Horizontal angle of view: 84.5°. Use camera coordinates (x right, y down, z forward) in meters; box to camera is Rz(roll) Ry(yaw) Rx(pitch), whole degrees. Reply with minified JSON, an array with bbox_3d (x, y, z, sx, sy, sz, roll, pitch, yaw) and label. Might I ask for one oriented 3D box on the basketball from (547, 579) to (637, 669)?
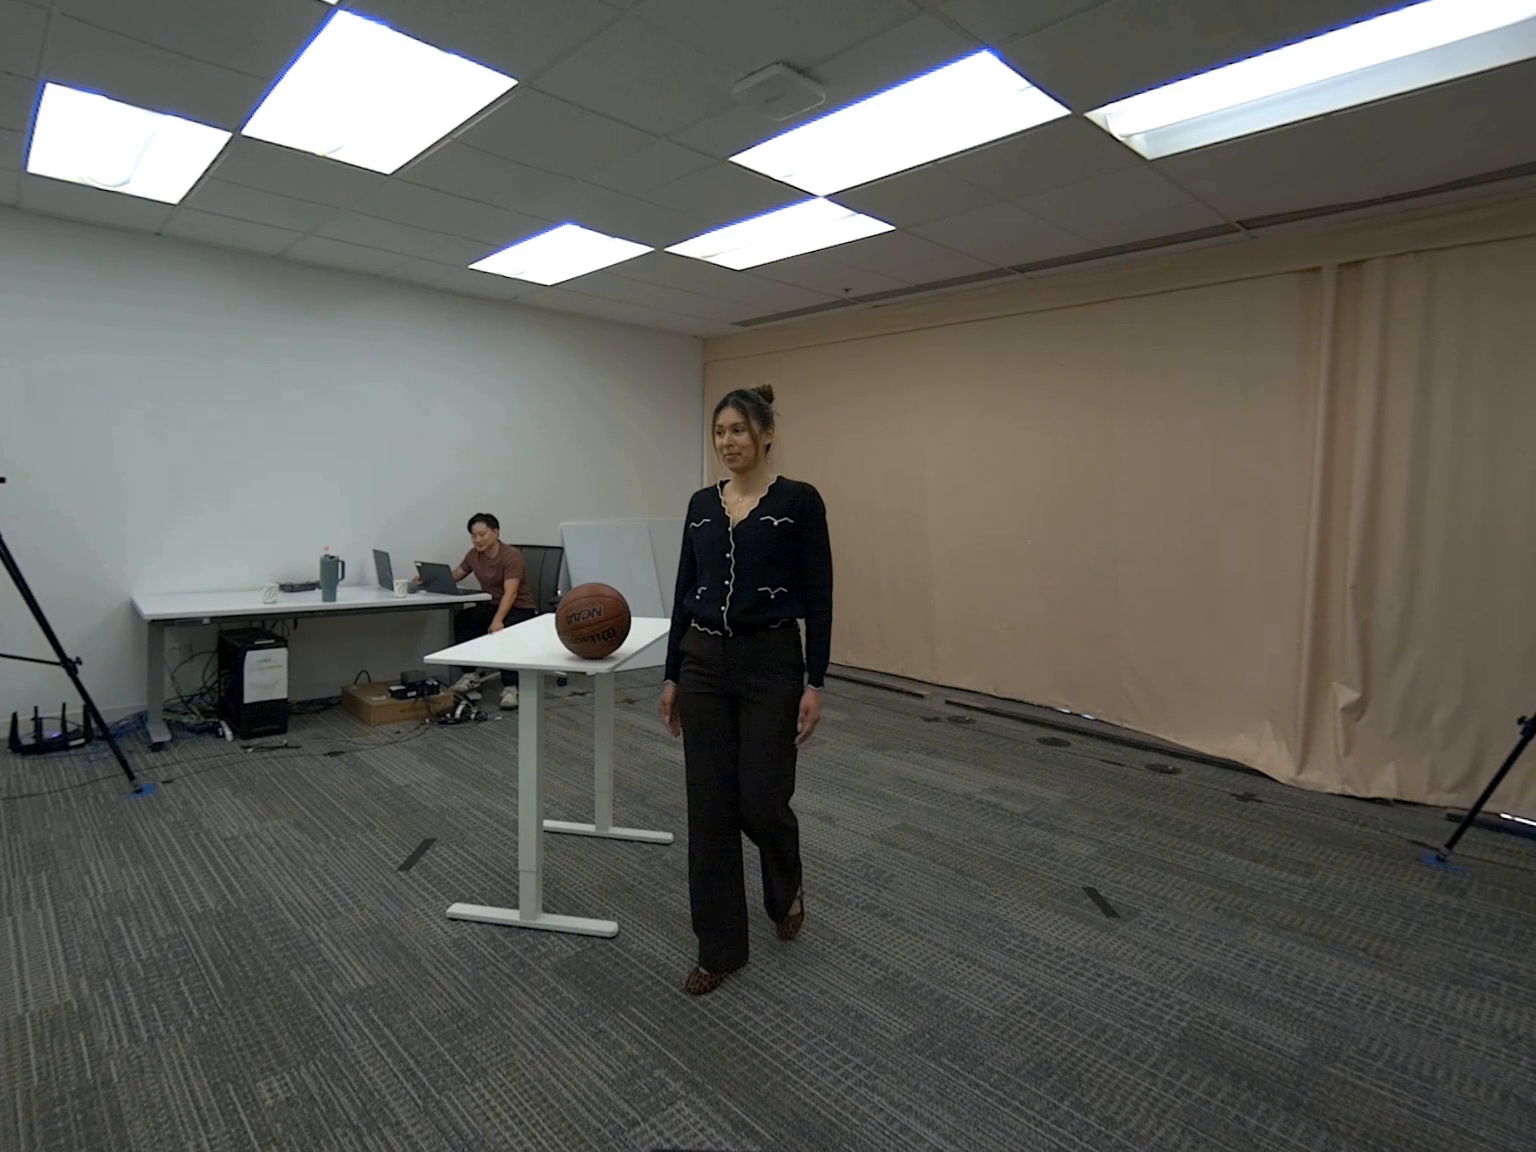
[{"bbox_3d":[-0.542,0.141,2.621,0.236,0.235,0.237,1,4,-1],"label":"basketball"}]
